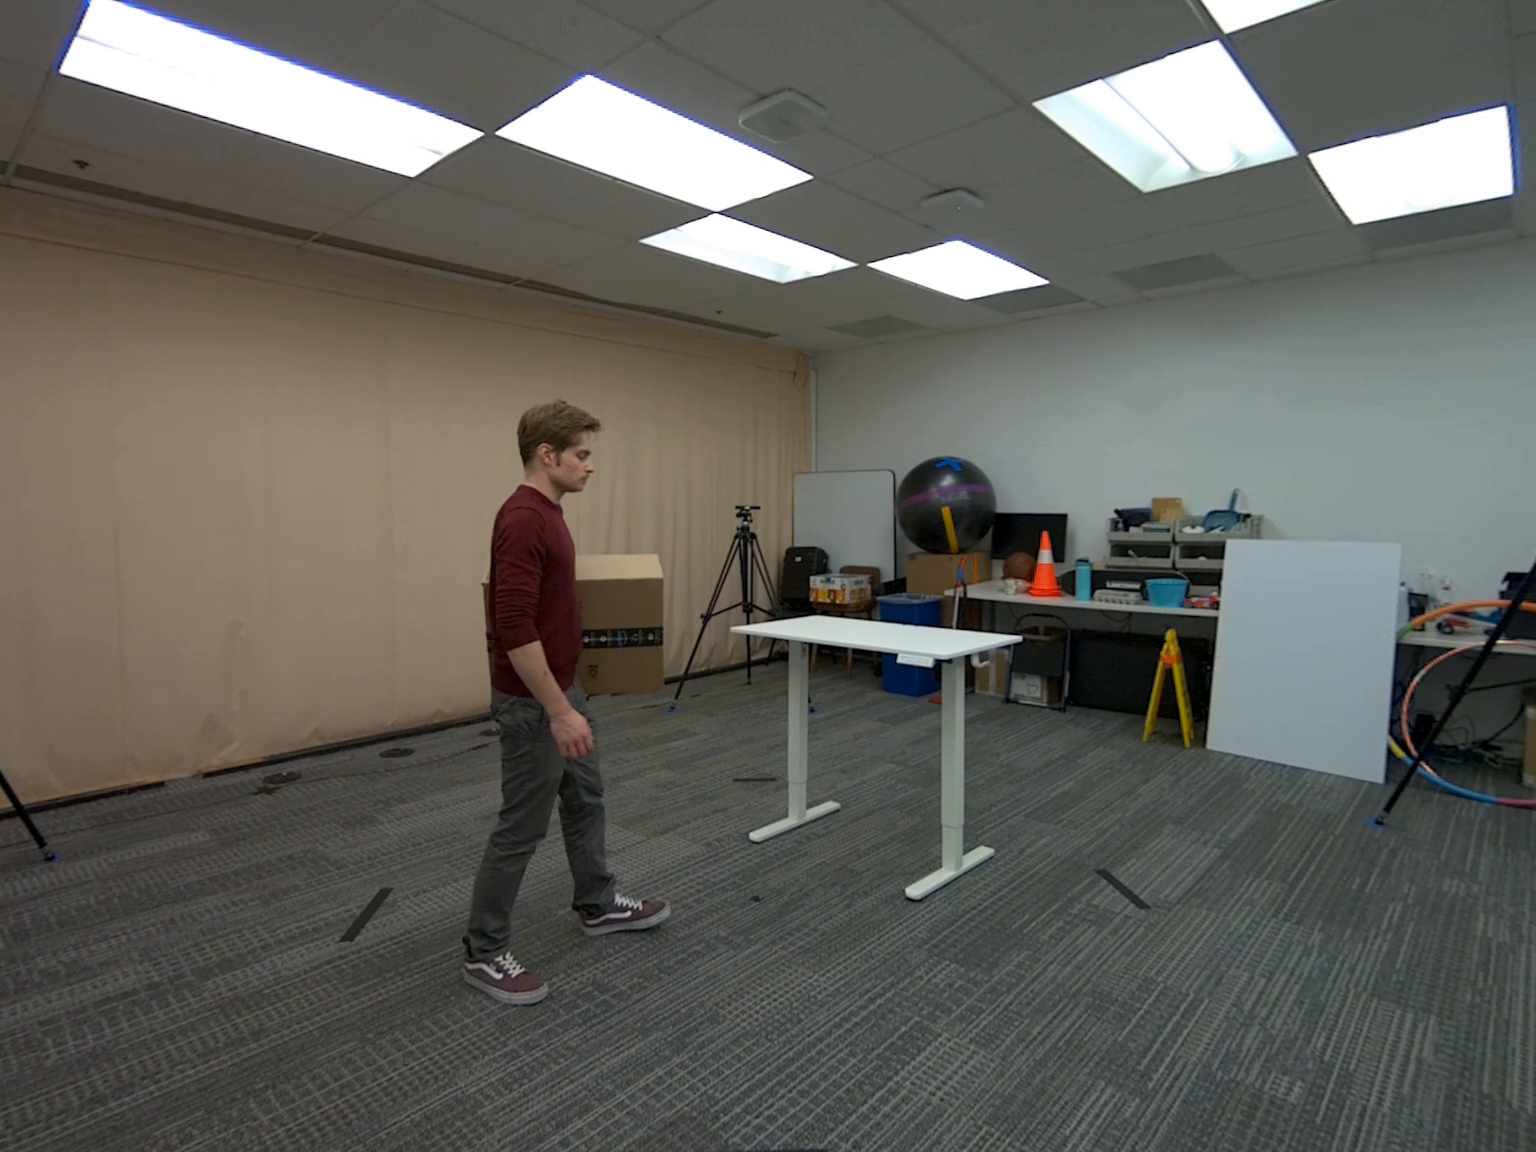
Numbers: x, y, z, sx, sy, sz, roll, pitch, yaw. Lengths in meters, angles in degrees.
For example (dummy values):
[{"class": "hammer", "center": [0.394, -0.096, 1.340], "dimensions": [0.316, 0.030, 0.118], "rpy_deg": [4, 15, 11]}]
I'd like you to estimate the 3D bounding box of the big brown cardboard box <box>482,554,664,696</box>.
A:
[{"class": "big brown cardboard box", "center": [-0.638, 0.158, 2.816], "dimensions": [0.585, 0.413, 0.237], "rpy_deg": [0, 21, -7]}]
